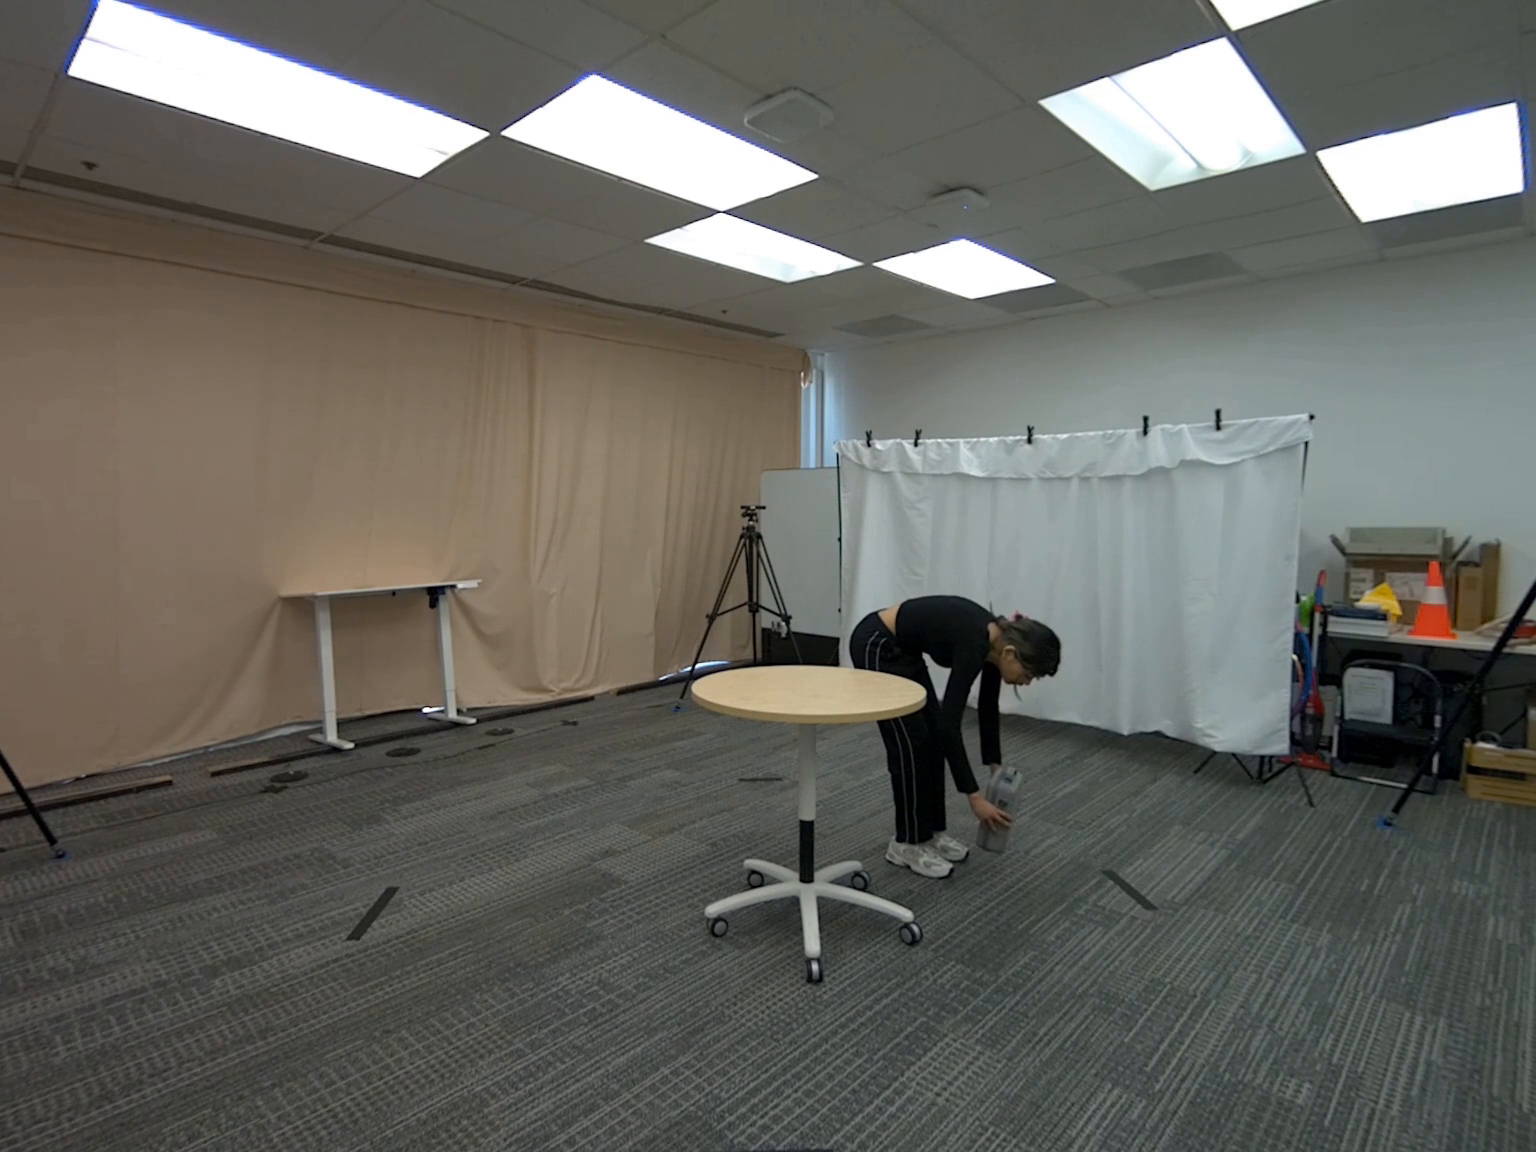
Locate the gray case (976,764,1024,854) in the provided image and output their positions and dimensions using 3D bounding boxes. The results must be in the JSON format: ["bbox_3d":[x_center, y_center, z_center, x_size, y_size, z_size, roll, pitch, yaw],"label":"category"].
[{"bbox_3d":[0.847,0.843,3.085,0.107,0.260,0.251,9,6,23],"label":"gray case"}]
